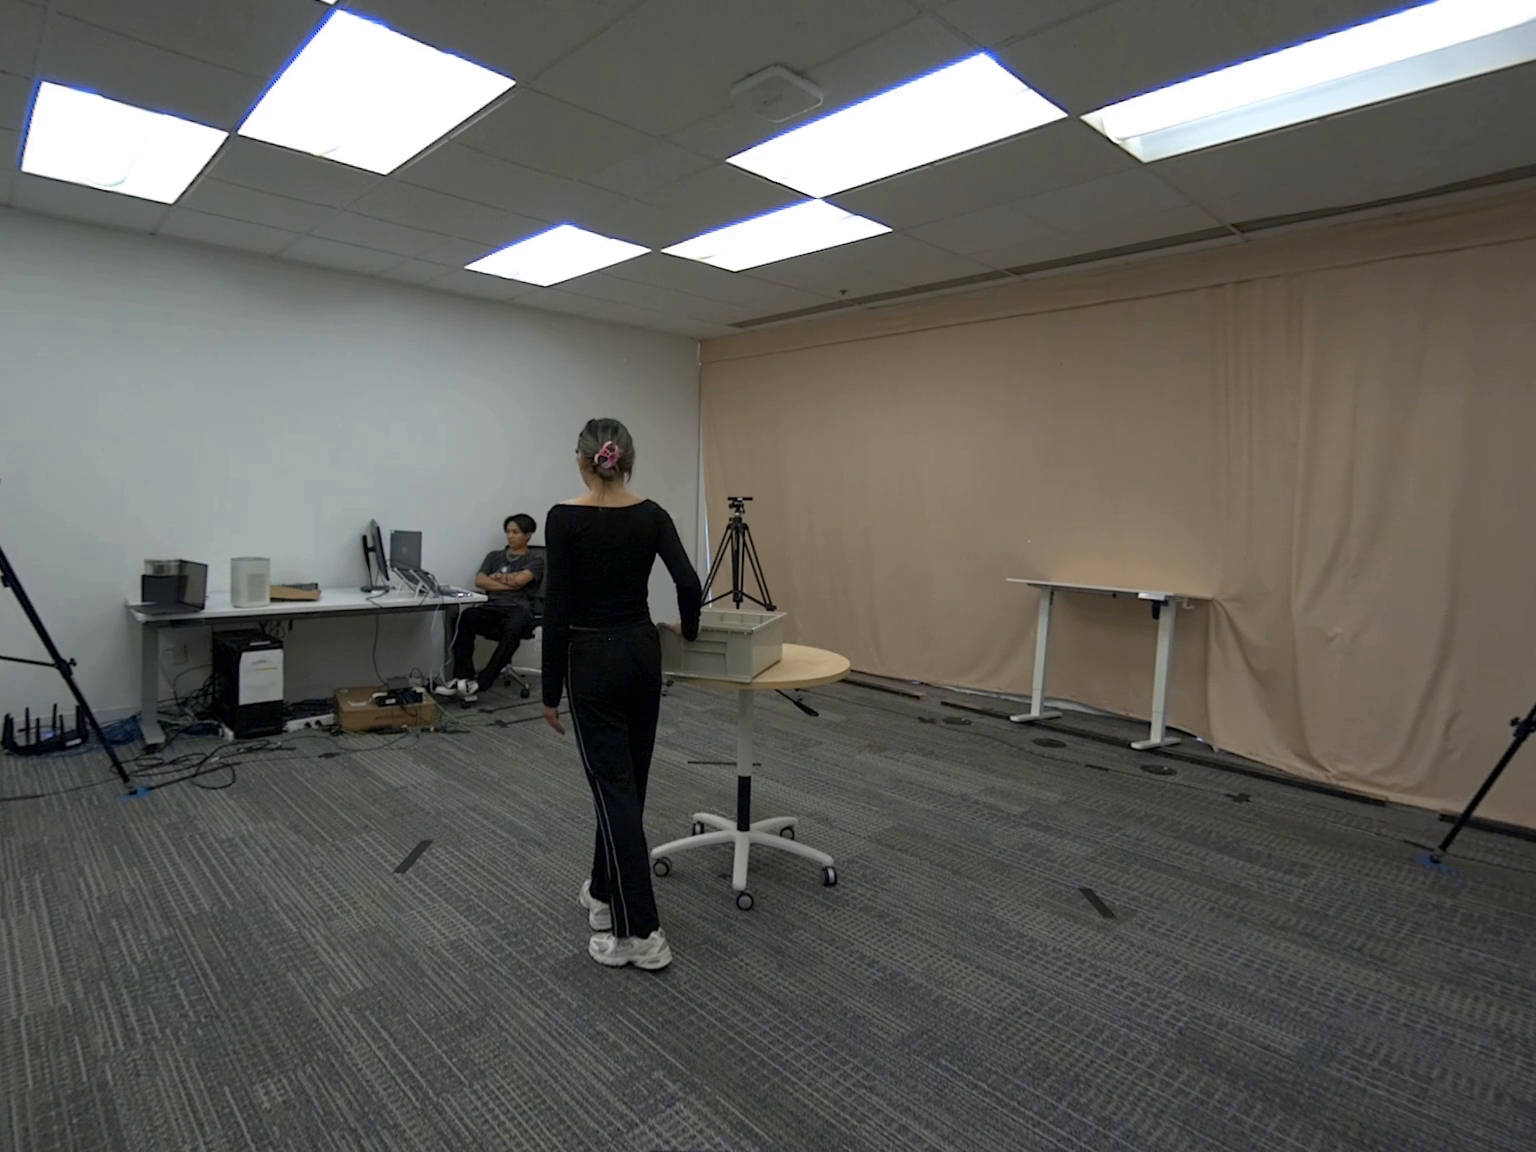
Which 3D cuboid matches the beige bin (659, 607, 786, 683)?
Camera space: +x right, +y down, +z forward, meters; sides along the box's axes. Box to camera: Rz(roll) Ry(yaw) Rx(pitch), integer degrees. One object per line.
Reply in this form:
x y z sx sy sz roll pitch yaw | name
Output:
-0.172 0.234 2.989 0.382 0.188 0.418 4 5 16 | beige bin
